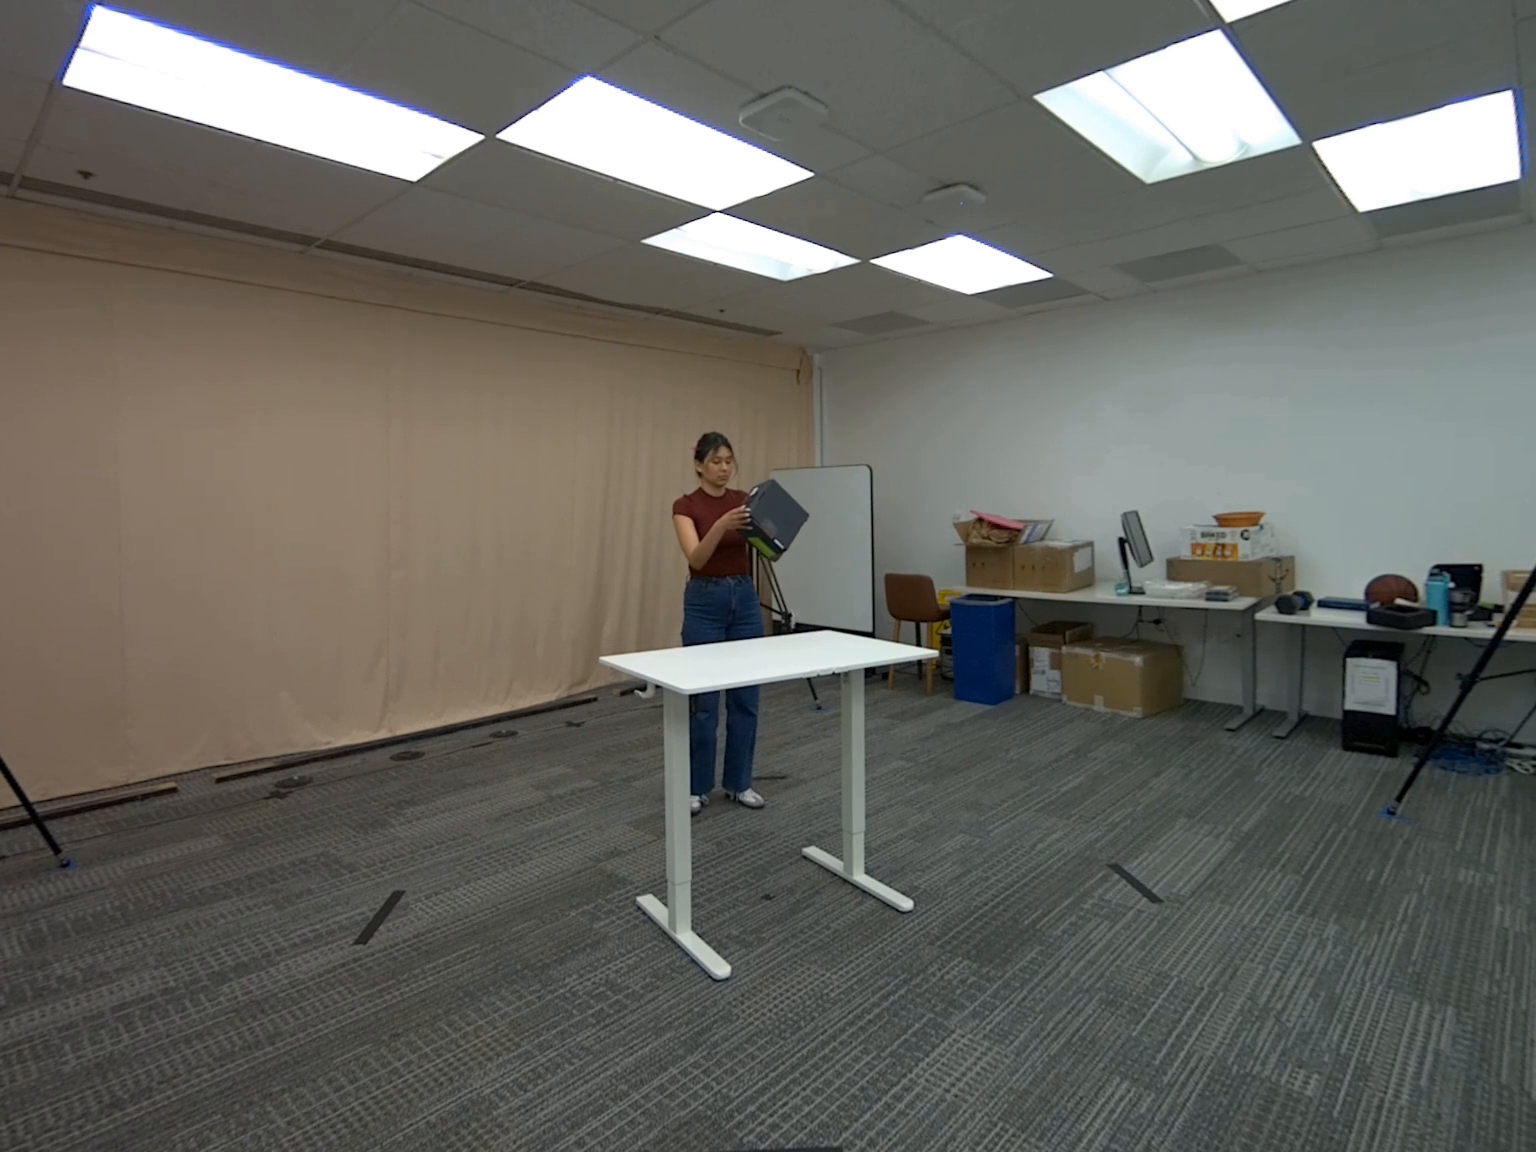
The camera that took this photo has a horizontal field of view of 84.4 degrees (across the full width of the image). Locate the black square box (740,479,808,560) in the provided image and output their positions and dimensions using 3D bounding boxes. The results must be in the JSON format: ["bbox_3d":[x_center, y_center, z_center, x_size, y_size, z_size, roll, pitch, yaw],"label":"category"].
[{"bbox_3d":[0.004,-0.235,3.508,0.224,0.216,0.159,44,-31,-16],"label":"black square box"}]
